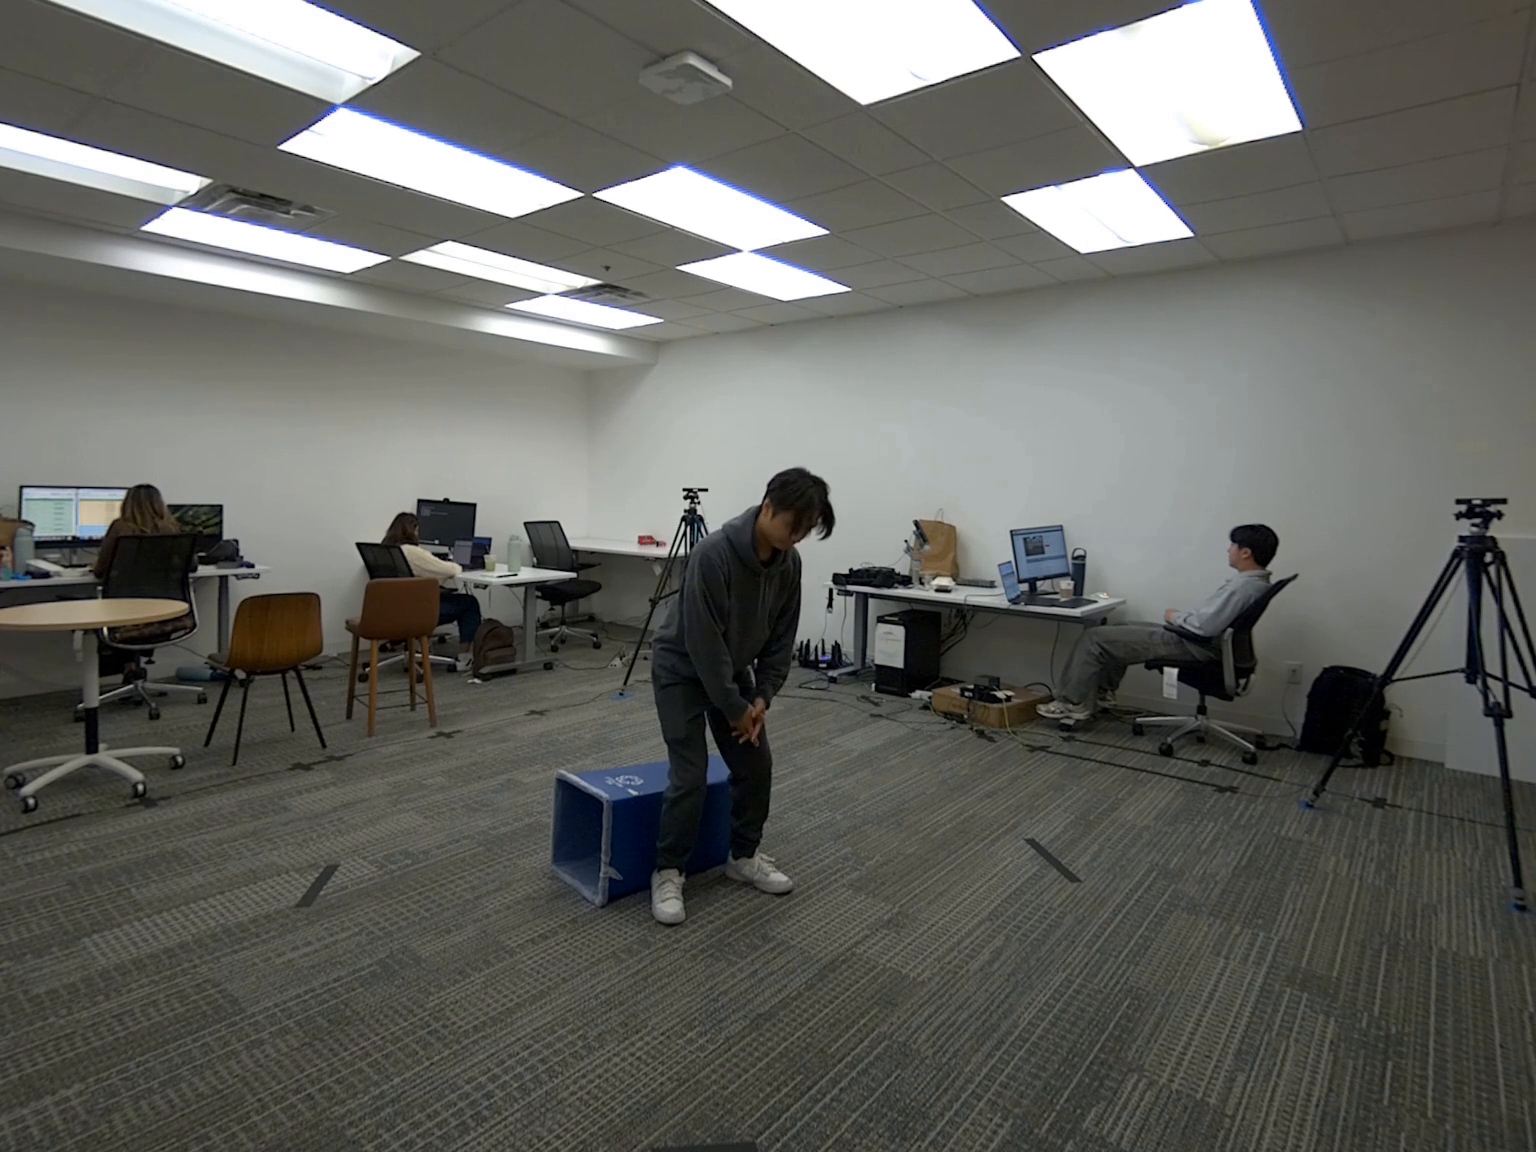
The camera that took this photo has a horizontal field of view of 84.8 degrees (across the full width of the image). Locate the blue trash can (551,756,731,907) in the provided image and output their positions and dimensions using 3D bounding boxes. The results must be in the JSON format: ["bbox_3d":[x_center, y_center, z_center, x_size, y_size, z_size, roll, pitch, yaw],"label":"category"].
[{"bbox_3d":[-0.413,0.893,3.155,0.691,0.377,0.387,1,3,-41],"label":"blue trash can"}]
